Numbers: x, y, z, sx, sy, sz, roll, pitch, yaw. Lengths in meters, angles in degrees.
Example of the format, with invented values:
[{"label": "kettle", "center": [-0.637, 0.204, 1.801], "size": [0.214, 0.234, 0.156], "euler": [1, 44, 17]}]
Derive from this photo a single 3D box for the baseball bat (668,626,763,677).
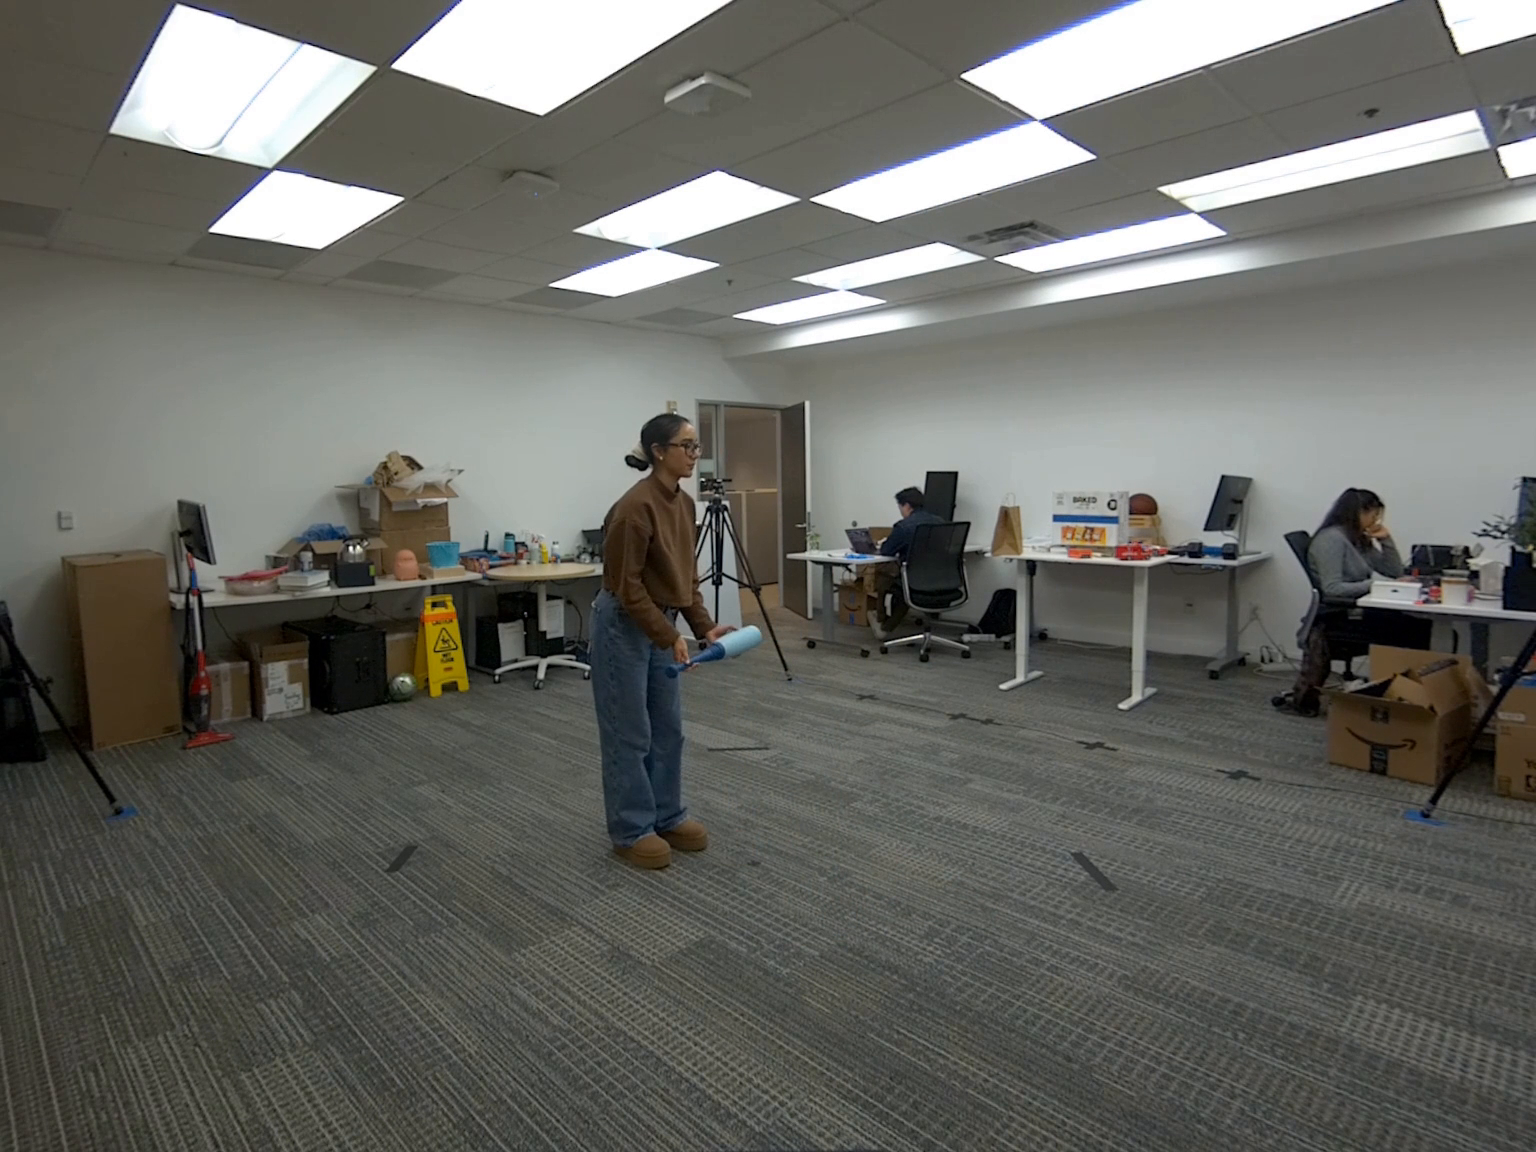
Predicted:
[{"label": "baseball bat", "center": [-0.196, 0.281, 3.079], "size": [0.091, 0.088, 0.533], "euler": [2, 10, 30]}]
